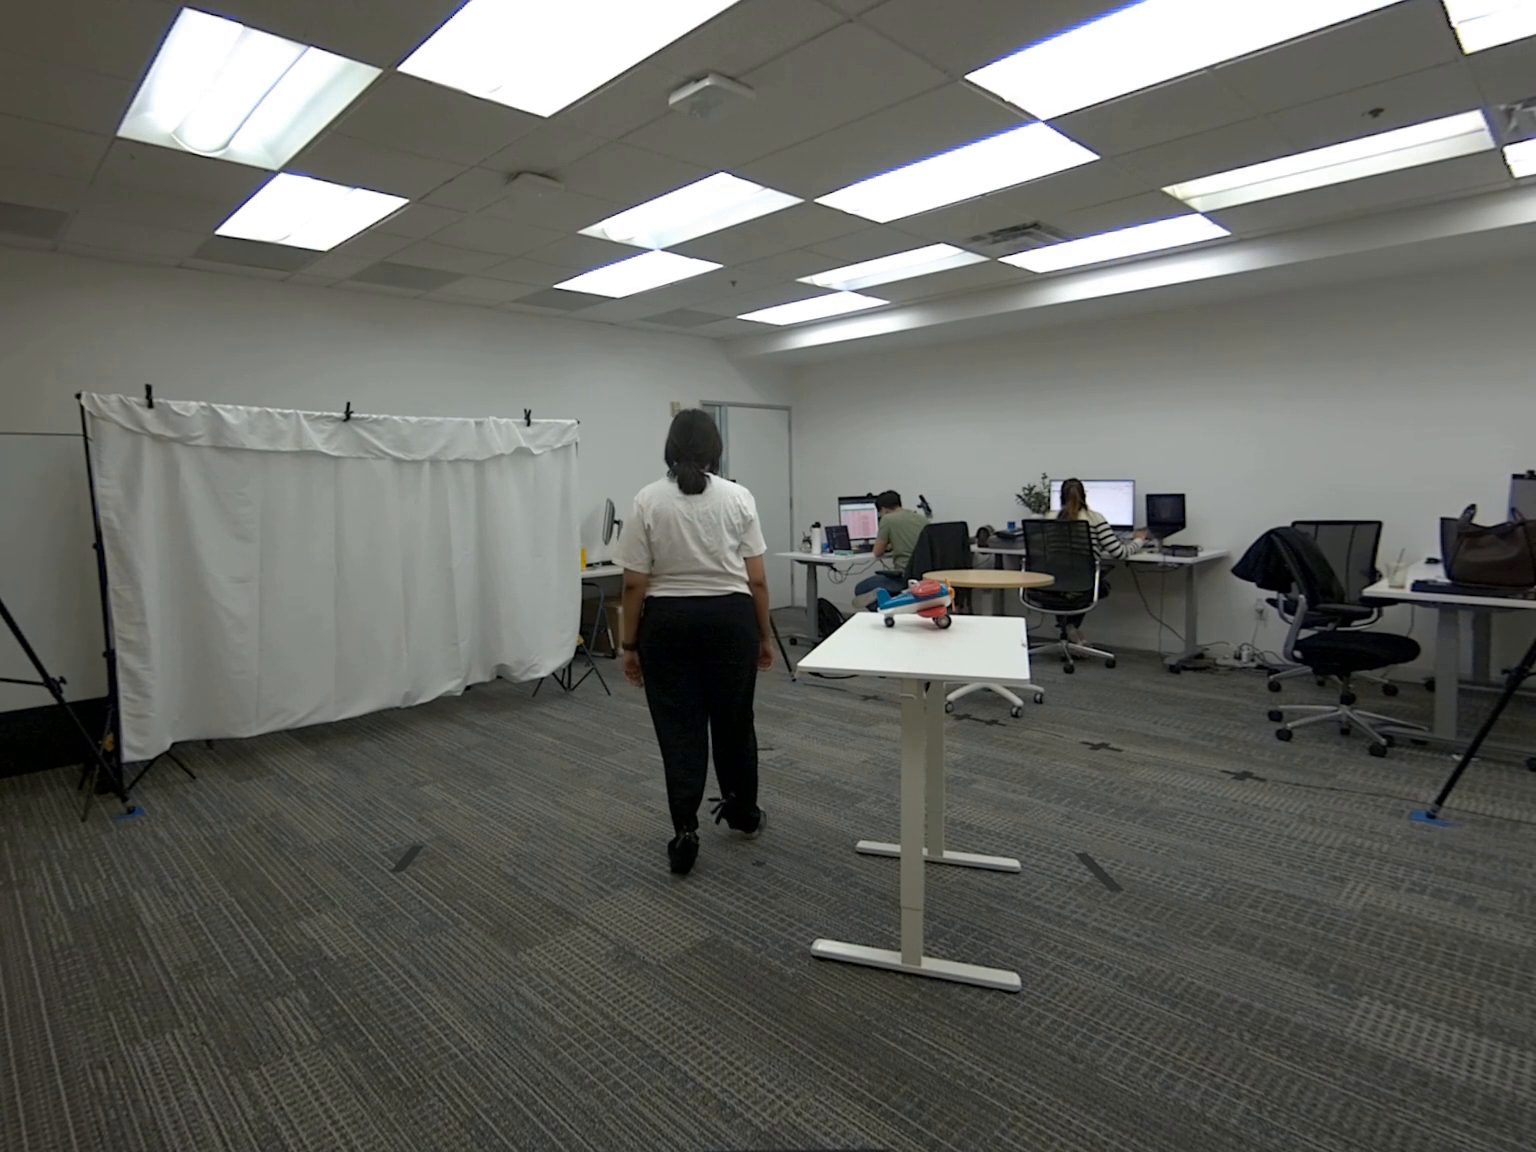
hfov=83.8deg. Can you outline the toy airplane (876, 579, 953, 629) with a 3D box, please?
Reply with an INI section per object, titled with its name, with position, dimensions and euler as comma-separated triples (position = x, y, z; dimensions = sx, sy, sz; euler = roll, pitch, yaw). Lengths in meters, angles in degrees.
[toy airplane]
position = 0.500, 0.100, 2.916
dimensions = 0.254, 0.156, 0.257
euler = 0, 5, -22
